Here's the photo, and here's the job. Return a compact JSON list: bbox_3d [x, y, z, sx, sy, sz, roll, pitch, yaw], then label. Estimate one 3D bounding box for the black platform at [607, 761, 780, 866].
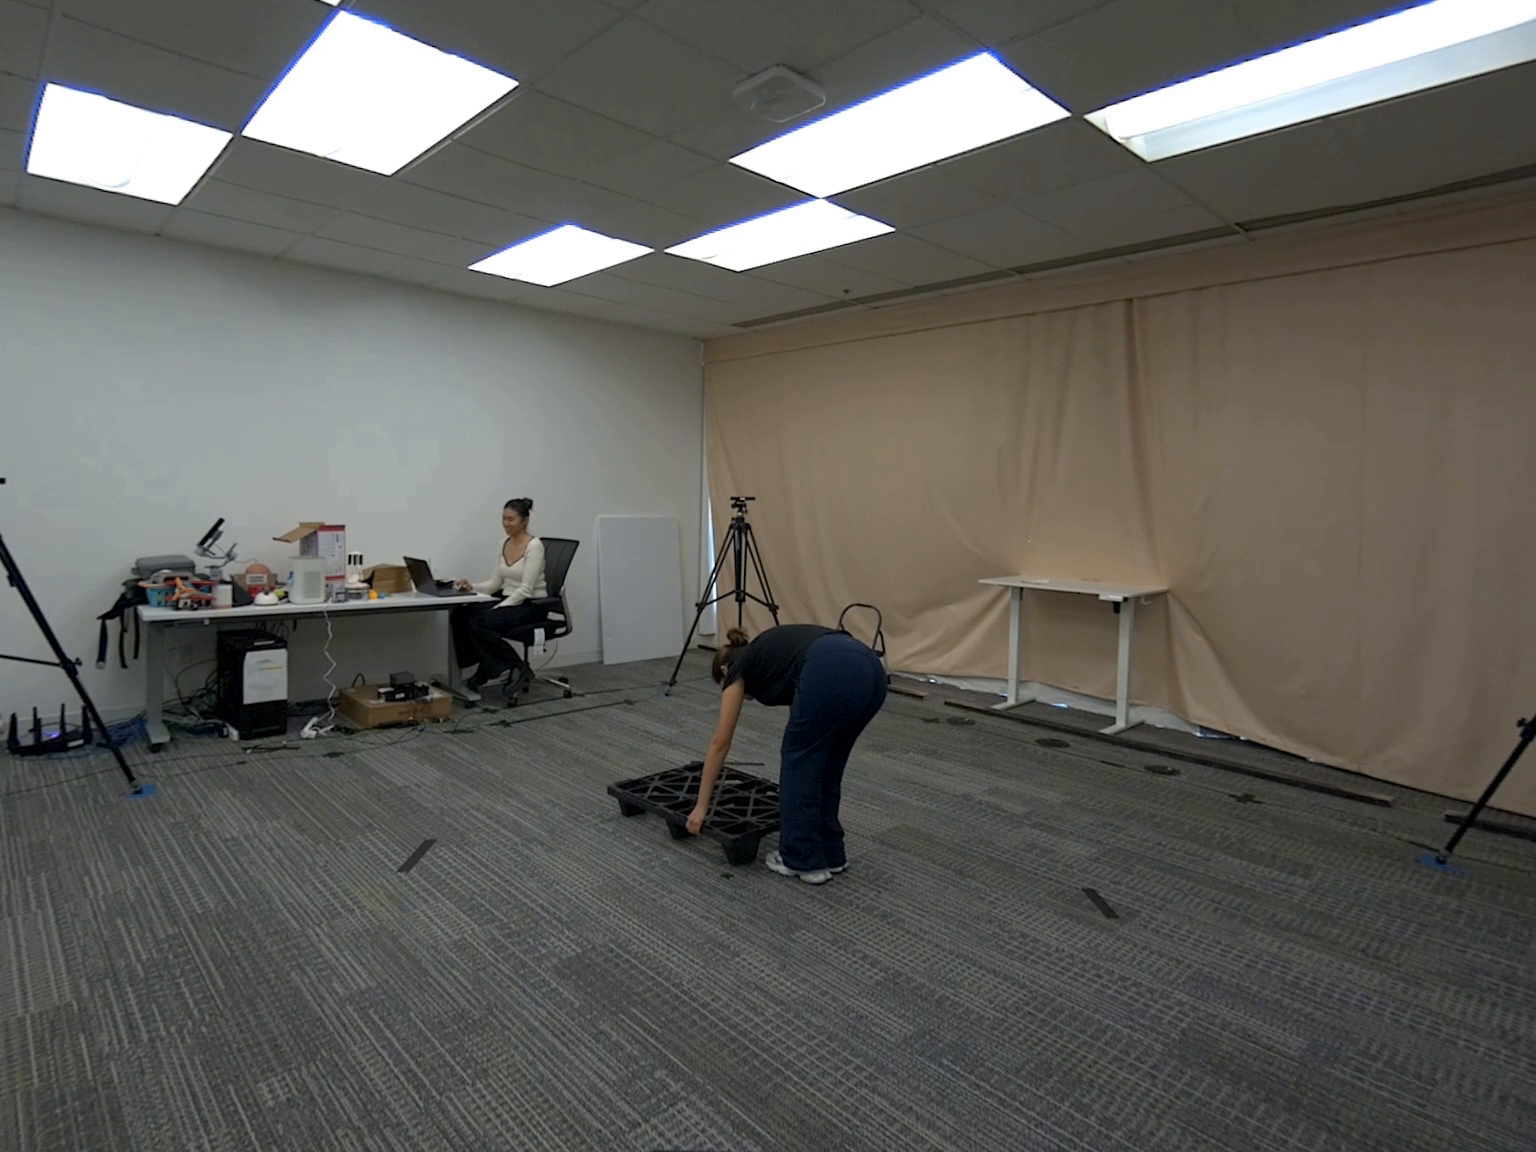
[{"bbox_3d":[-0.222,0.995,3.563,0.591,0.143,0.826,-4,6,-45],"label":"black platform"}]
